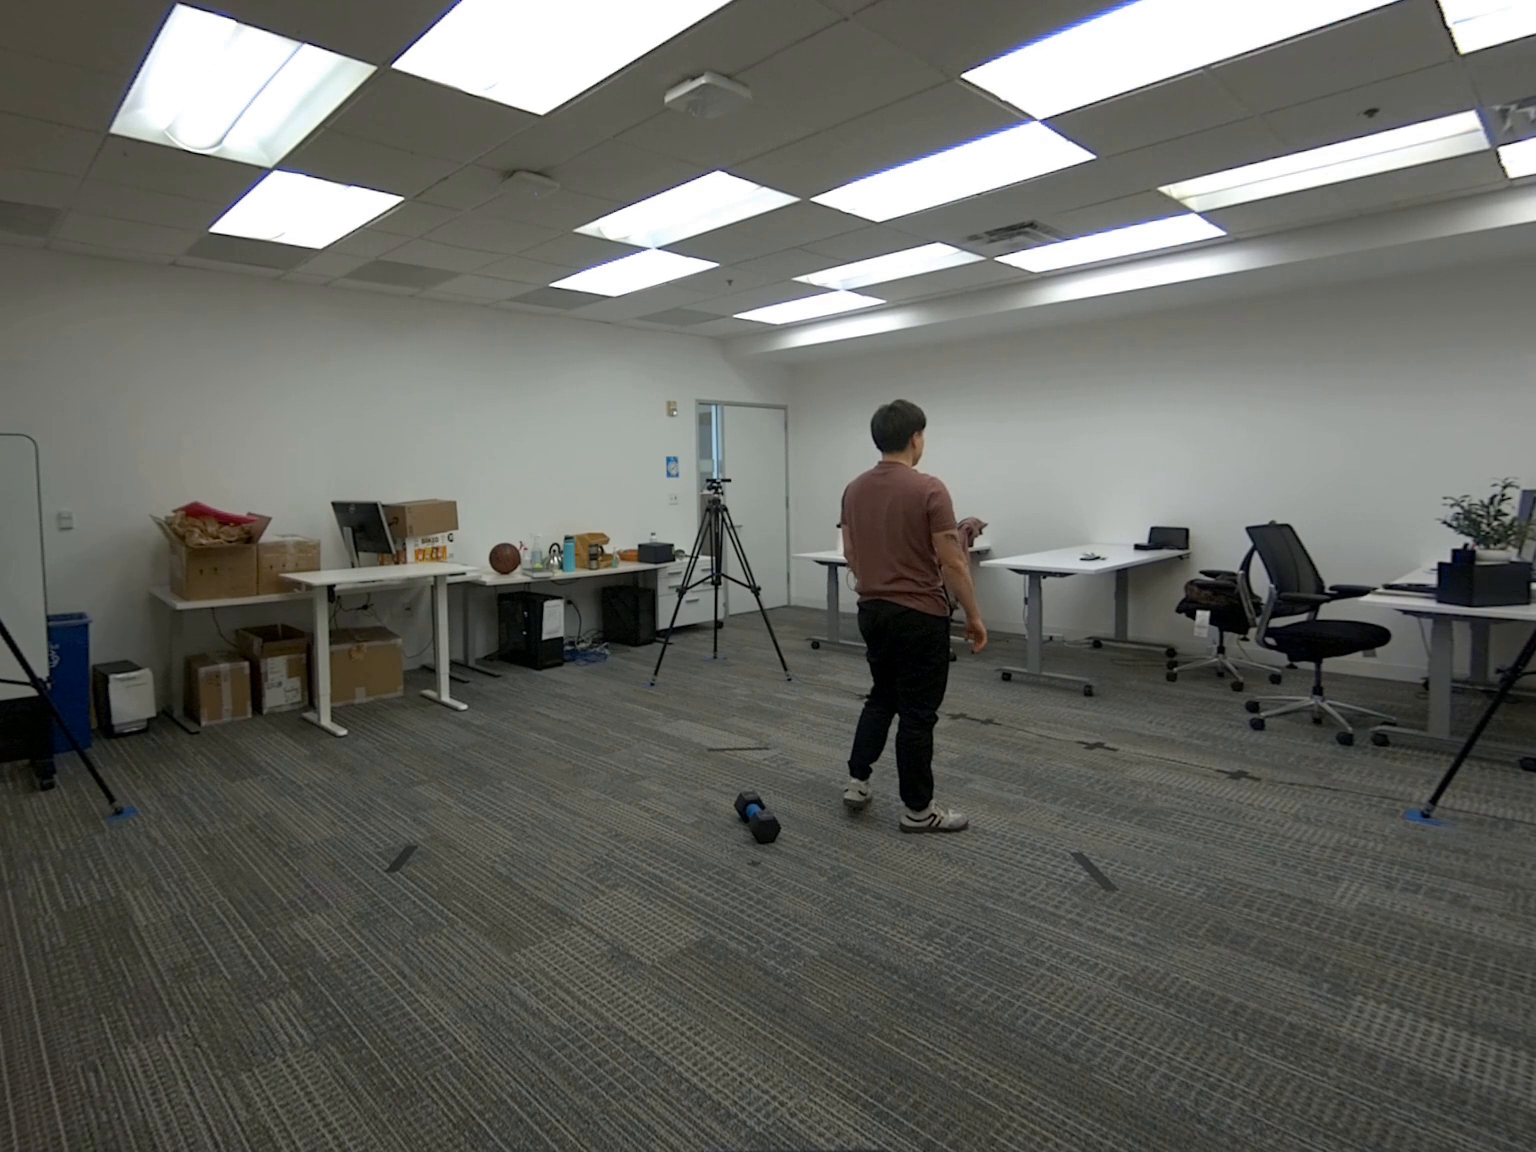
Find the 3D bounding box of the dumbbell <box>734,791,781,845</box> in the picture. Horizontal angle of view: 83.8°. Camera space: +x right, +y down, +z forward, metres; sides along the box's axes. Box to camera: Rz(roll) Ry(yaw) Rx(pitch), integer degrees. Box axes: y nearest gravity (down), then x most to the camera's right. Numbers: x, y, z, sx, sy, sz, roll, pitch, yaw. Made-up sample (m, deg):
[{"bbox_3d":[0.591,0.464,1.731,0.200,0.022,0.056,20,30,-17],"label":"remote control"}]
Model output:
[{"bbox_3d":[-0.040,0.960,3.402,0.121,0.108,0.298,-1,6,-15],"label":"dumbbell"}]
